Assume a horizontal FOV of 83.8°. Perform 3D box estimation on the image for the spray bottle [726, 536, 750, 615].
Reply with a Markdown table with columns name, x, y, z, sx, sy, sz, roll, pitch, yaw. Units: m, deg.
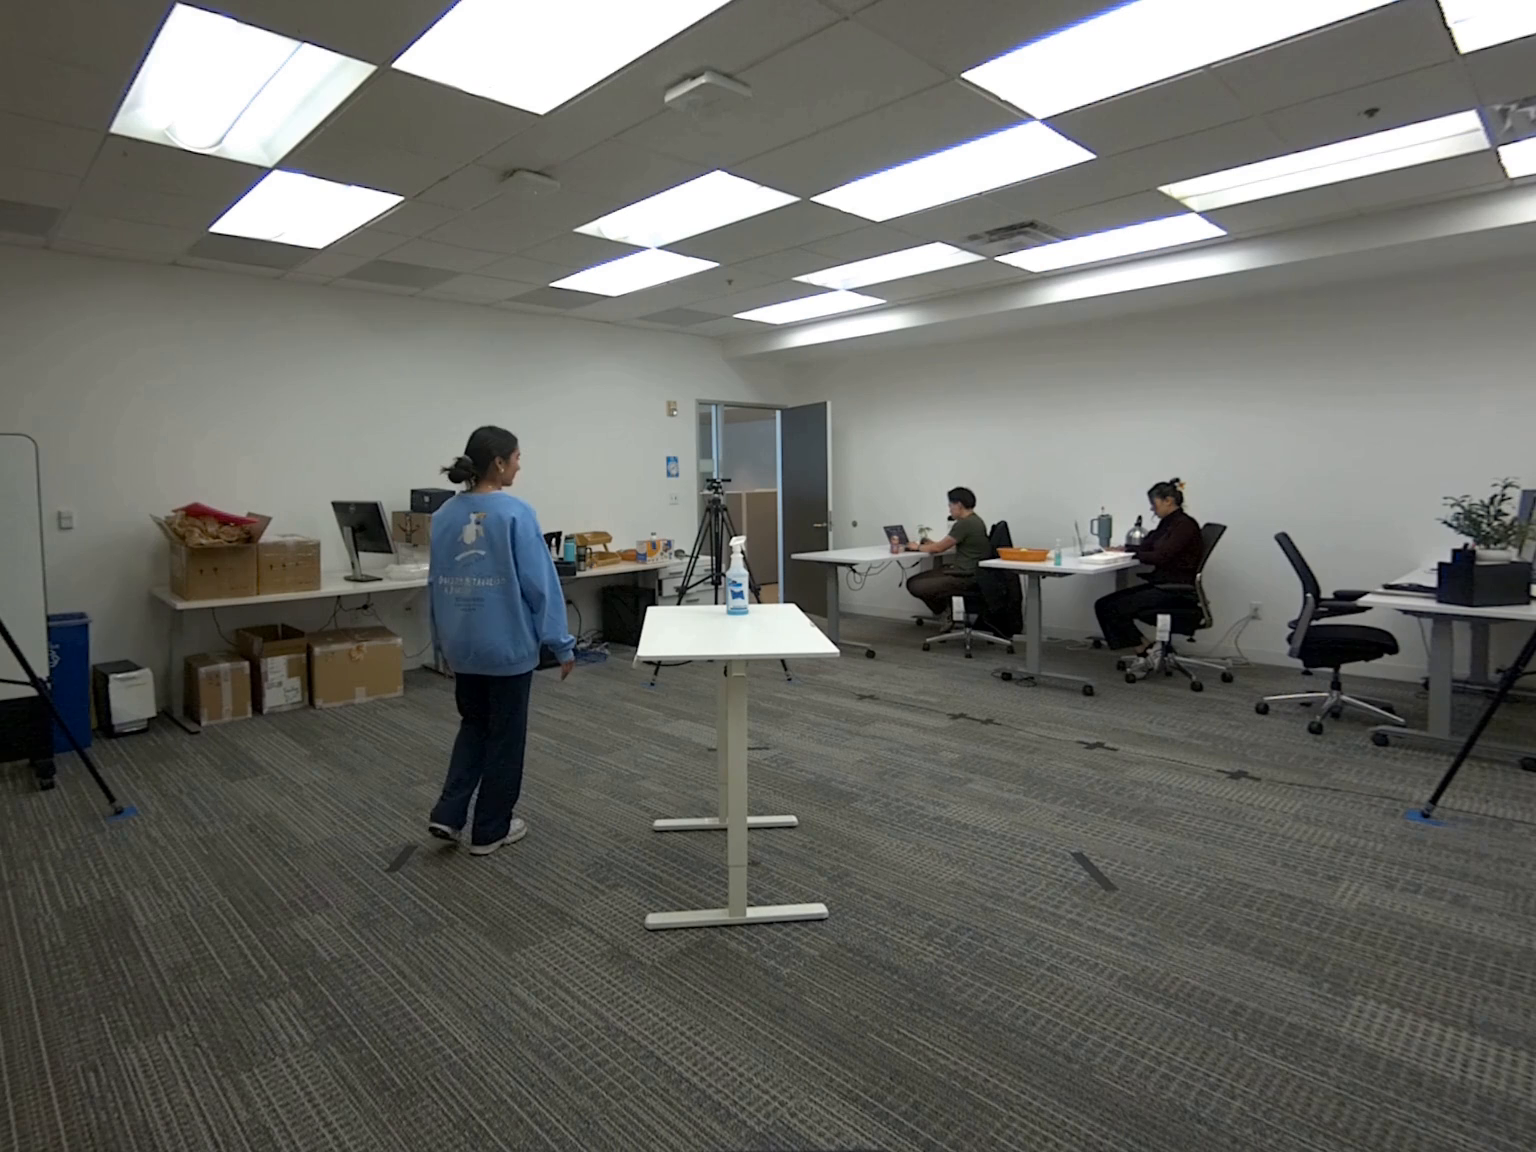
| name | x | y | z | sx | sy | sz | roll | pitch | yaw |
| --- | --- | --- | --- | --- | --- | --- | --- | --- | --- |
| spray bottle | -0.119 | -0.001 | 3.284 | 0.088 | 0.297 | 0.089 | 0 | -1 | -27 |
